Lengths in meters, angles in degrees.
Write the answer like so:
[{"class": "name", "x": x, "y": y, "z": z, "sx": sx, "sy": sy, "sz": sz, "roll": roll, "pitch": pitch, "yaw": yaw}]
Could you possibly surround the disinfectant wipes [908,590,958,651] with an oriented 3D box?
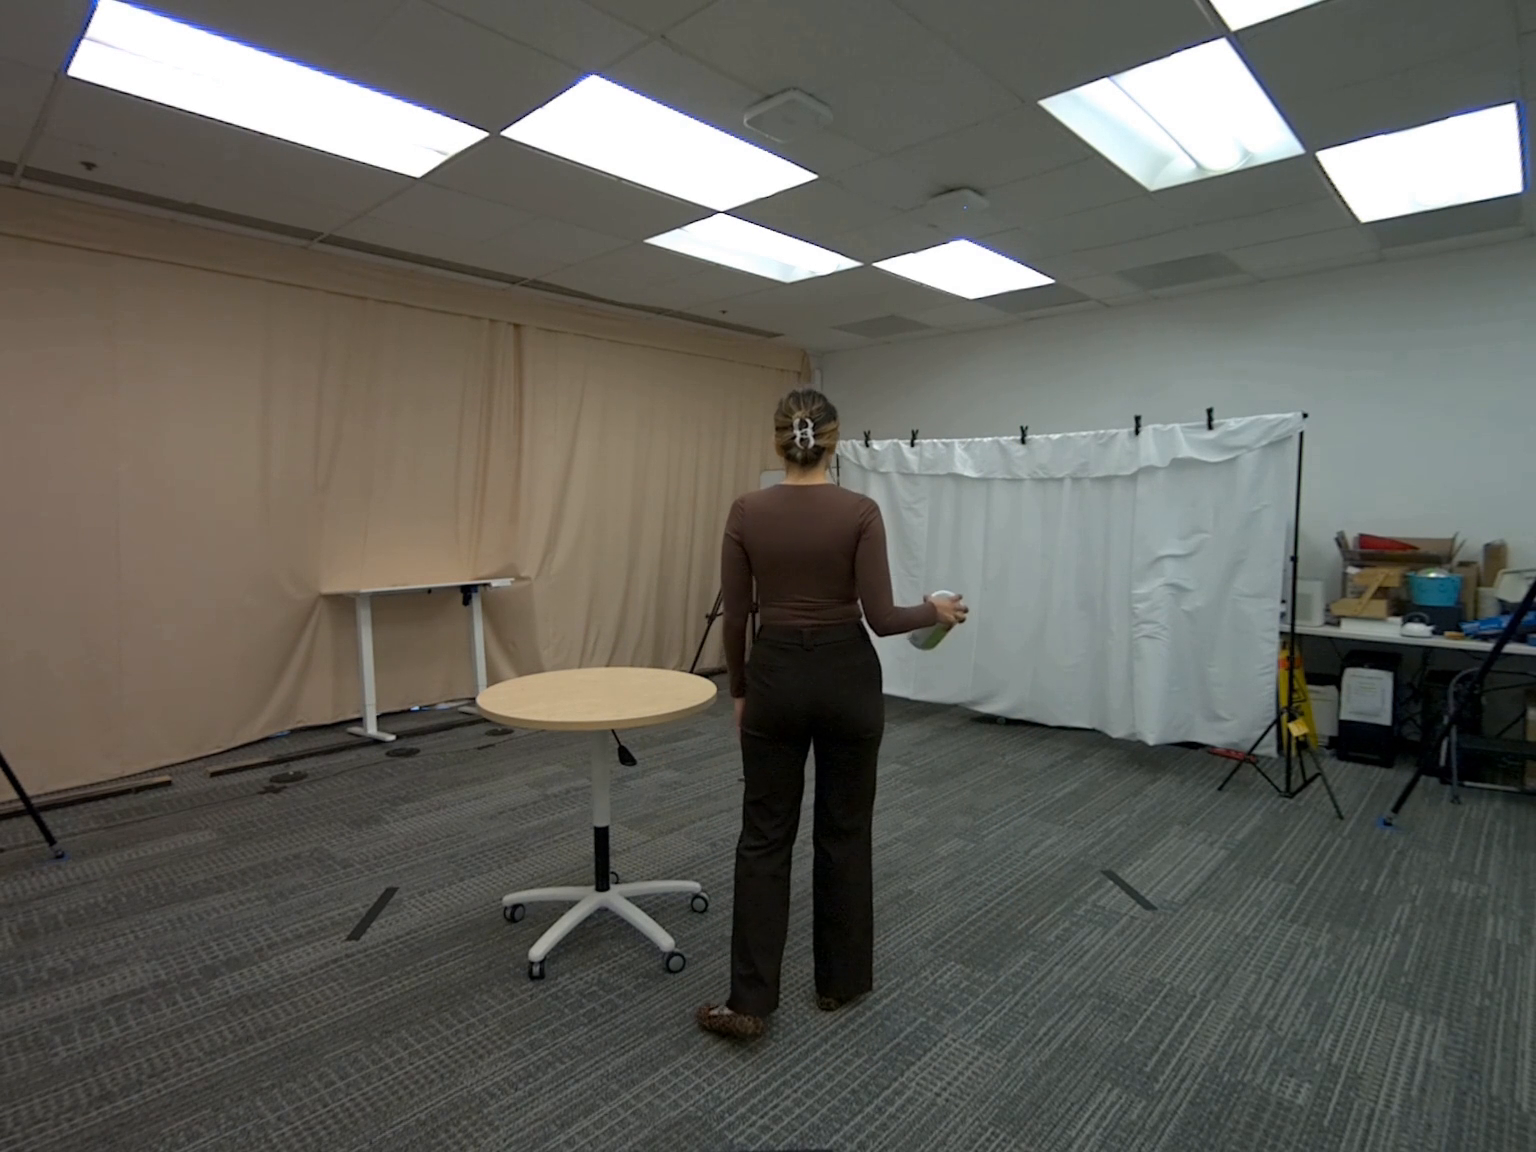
[{"class": "disinfectant wipes", "x": 0.502, "y": 0.136, "z": 2.547, "sx": 0.117, "sy": 0.120, "sz": 0.215, "roll": 0, "pitch": -28, "yaw": -7}]
